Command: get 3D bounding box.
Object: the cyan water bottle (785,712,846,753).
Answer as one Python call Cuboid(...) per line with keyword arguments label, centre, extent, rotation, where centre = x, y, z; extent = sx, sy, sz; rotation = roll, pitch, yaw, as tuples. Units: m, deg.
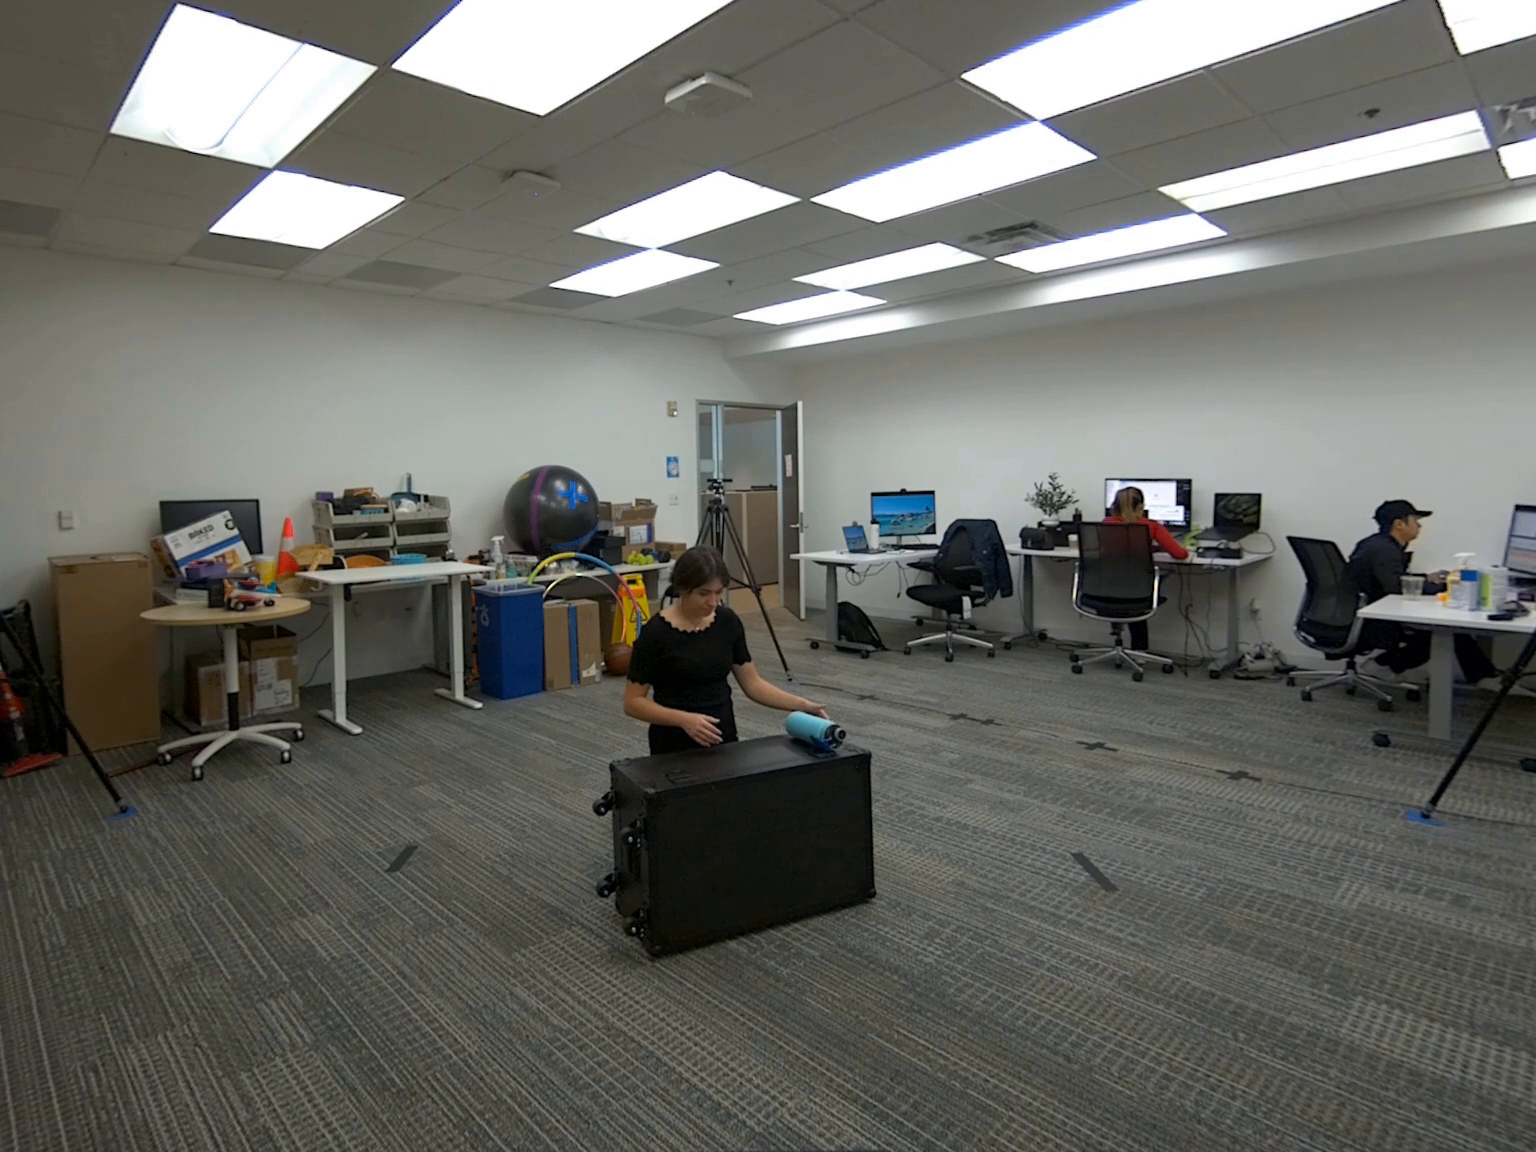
Cuboid(label="cyan water bottle", centre=(0.168, 0.522, 2.891), extent=(0.090, 0.092, 0.289), rotation=(-3, 1, -25))
